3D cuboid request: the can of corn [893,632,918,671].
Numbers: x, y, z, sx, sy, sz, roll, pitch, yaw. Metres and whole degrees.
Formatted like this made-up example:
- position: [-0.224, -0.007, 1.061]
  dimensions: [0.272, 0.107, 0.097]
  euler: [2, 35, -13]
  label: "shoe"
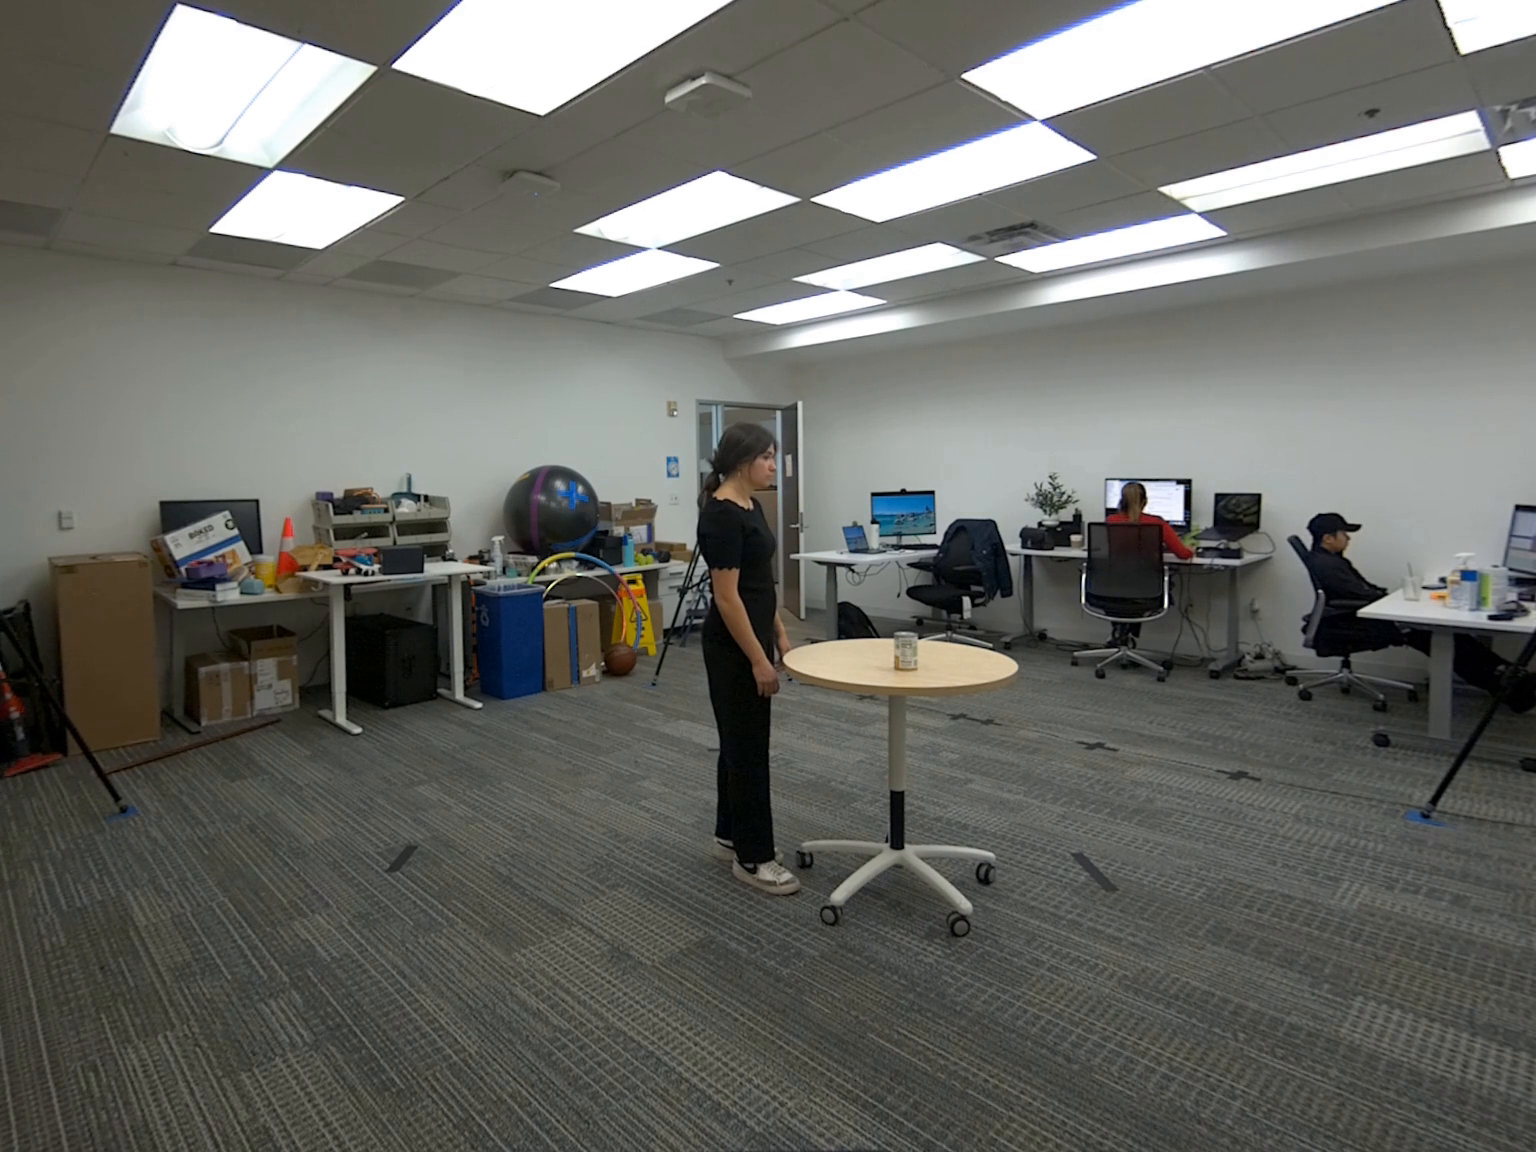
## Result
- position: [0.442, 0.241, 2.708]
  dimensions: [0.074, 0.110, 0.074]
  euler: [-2, 5, -2]
  label: "can of corn"
